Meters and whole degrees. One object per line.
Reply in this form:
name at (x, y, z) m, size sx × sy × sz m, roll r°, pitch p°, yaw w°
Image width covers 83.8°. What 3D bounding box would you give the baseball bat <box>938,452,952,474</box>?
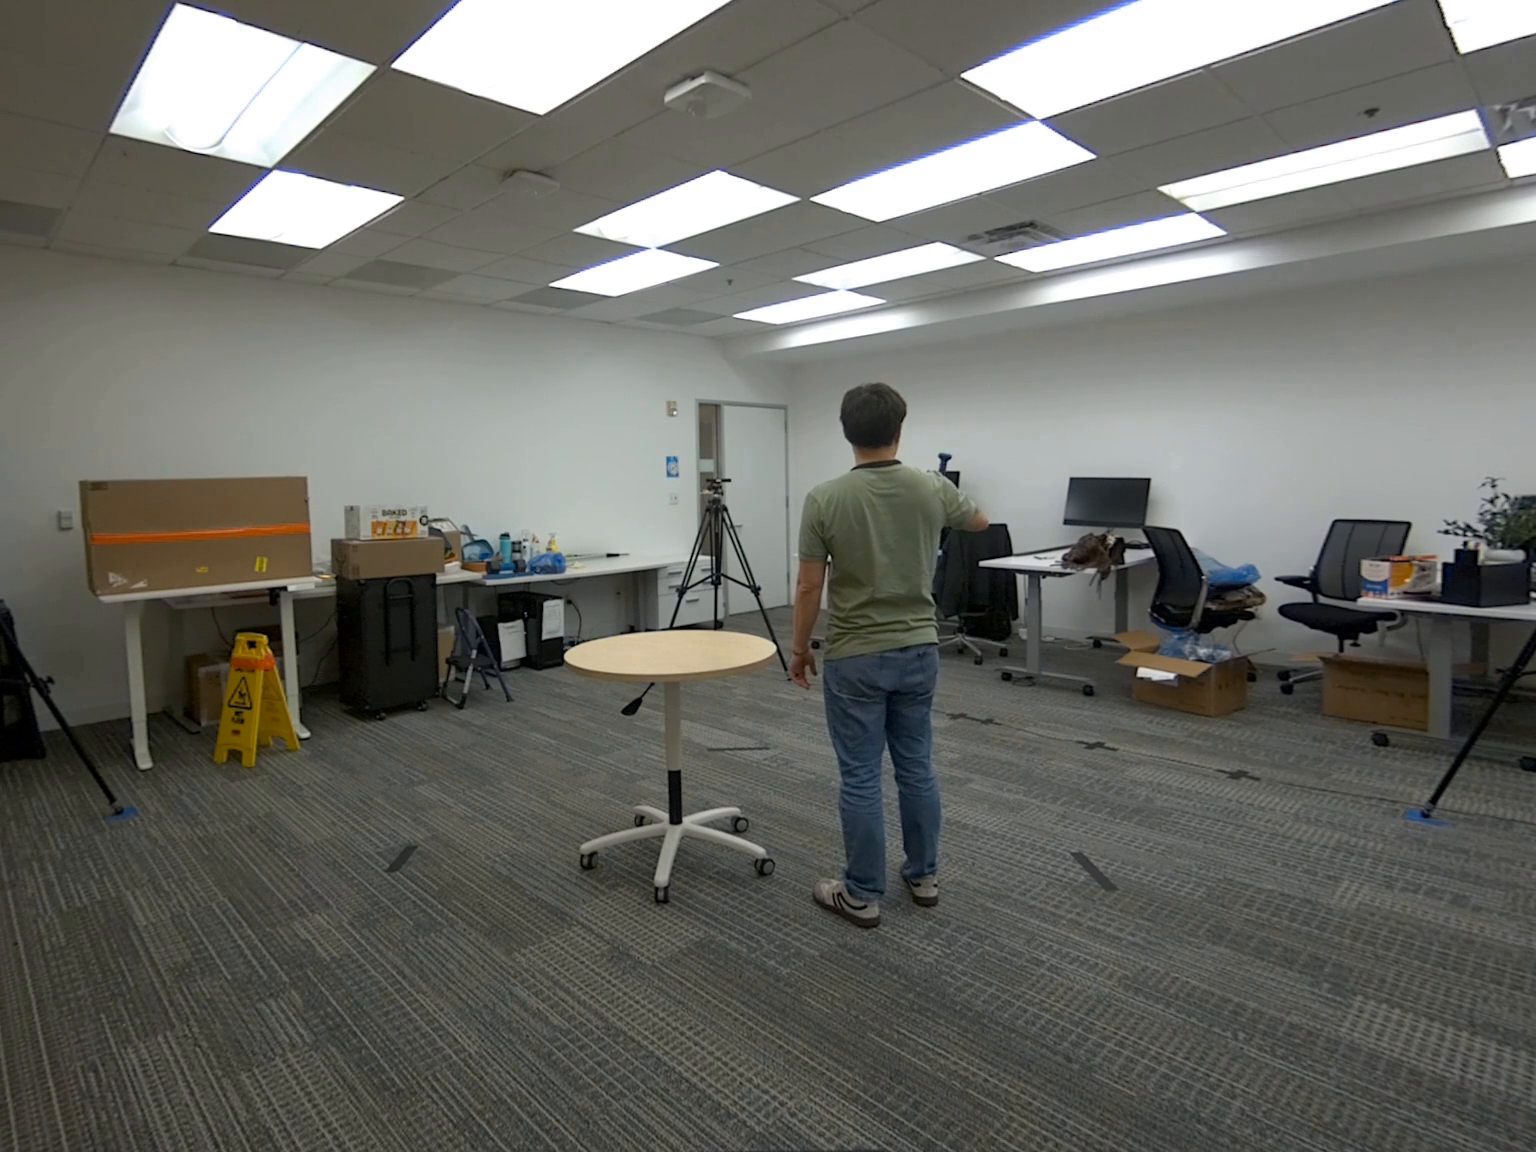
baseball bat at (0.633, -0.203, 3.218) m, size 0.089 × 0.539 × 0.090 m, roll 8°, pitch 10°, yaw -3°
